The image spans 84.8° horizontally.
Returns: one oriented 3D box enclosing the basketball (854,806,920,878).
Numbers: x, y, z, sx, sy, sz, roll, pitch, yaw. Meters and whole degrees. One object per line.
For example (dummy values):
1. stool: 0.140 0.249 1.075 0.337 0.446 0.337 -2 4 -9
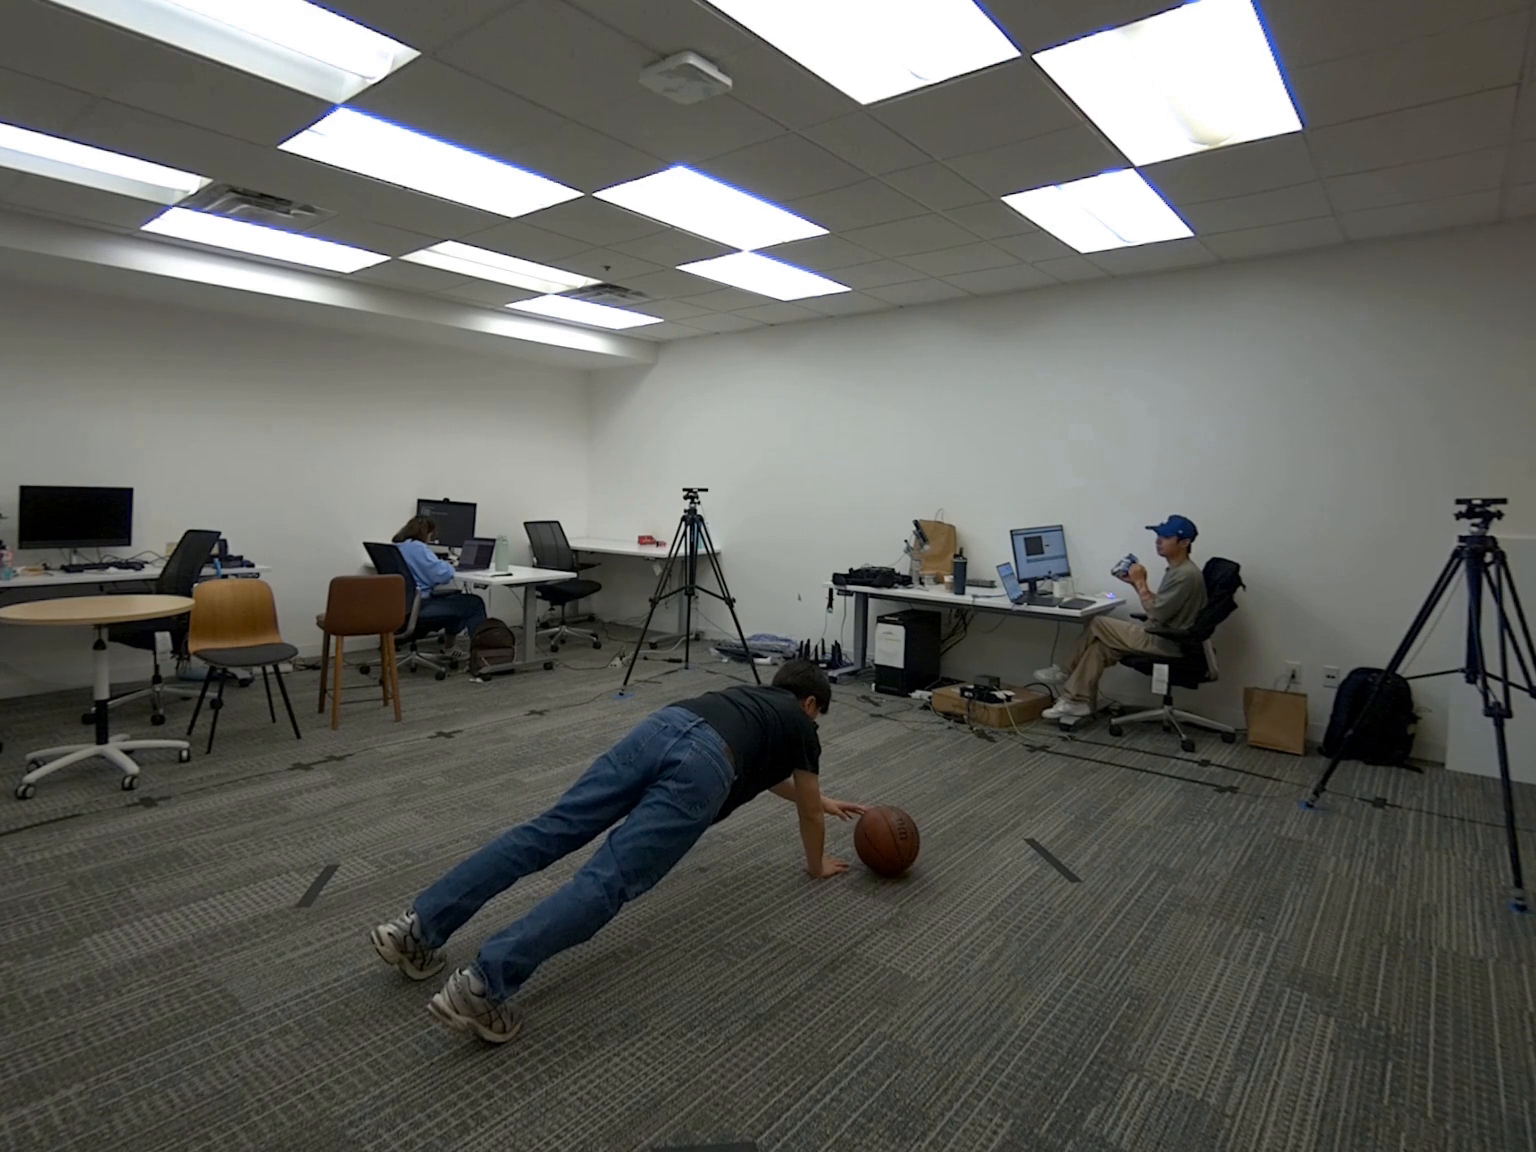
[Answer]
1. basketball: 0.429 0.962 3.122 0.235 0.235 0.237 1 4 -2
